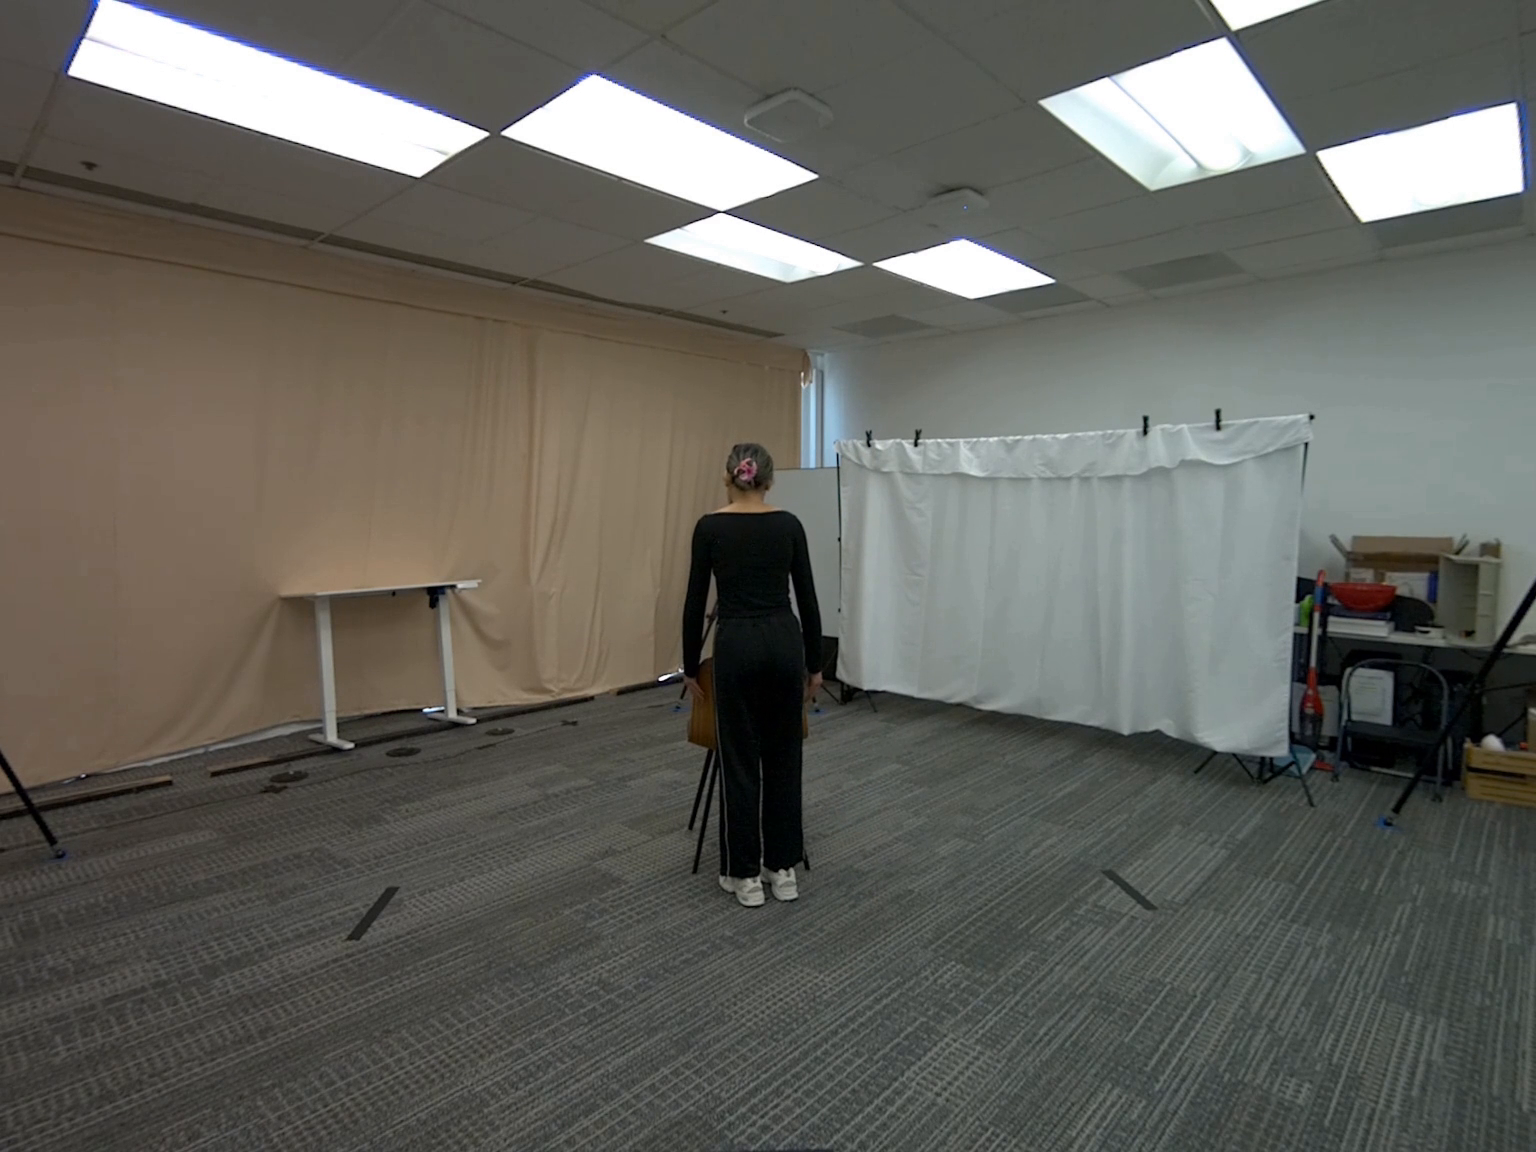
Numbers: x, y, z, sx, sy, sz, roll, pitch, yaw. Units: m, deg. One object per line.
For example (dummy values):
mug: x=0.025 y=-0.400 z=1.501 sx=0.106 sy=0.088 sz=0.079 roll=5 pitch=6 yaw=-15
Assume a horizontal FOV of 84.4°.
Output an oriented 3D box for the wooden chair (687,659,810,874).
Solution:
wooden chair: x=-0.099 y=0.680 z=3.404 sx=0.475 sy=0.873 sz=0.529 roll=-1 pitch=7 yaw=-6
